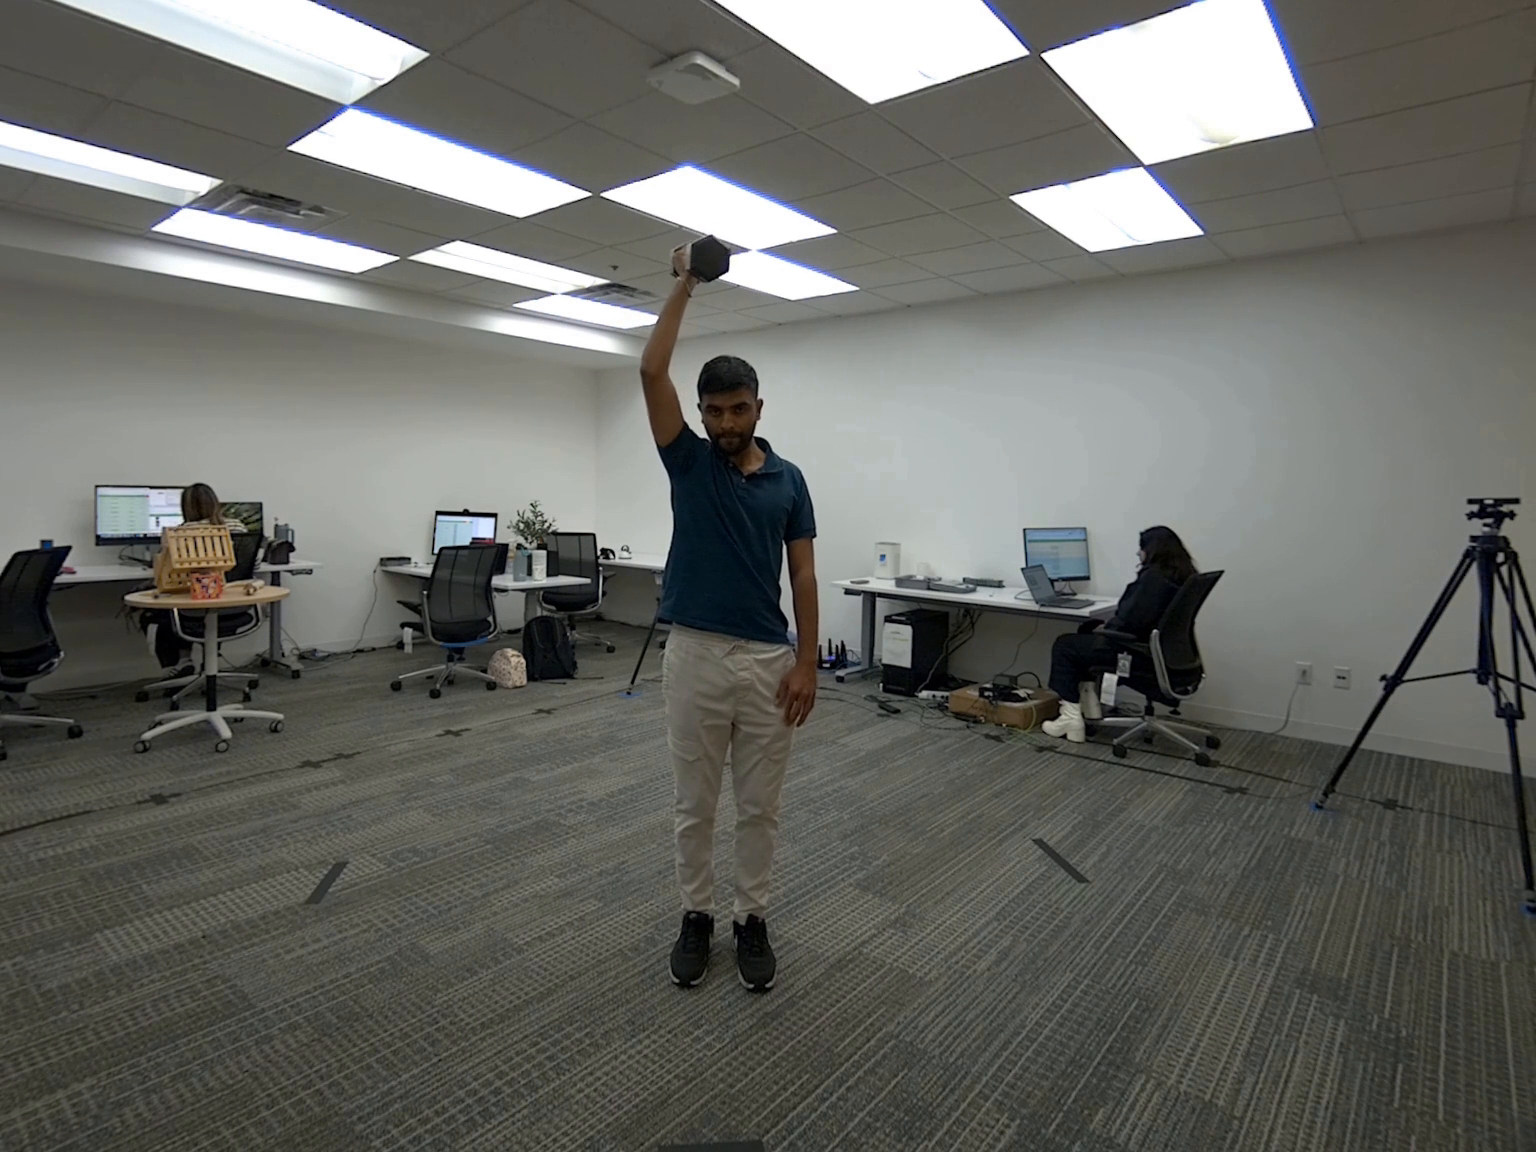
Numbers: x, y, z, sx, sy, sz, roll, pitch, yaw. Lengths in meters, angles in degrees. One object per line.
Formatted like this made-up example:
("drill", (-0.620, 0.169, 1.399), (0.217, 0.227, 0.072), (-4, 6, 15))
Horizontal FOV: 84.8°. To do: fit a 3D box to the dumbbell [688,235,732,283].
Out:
("dumbbell", (-0.199, -0.860, 2.324), (0.120, 0.108, 0.301), (23, 9, -20))
